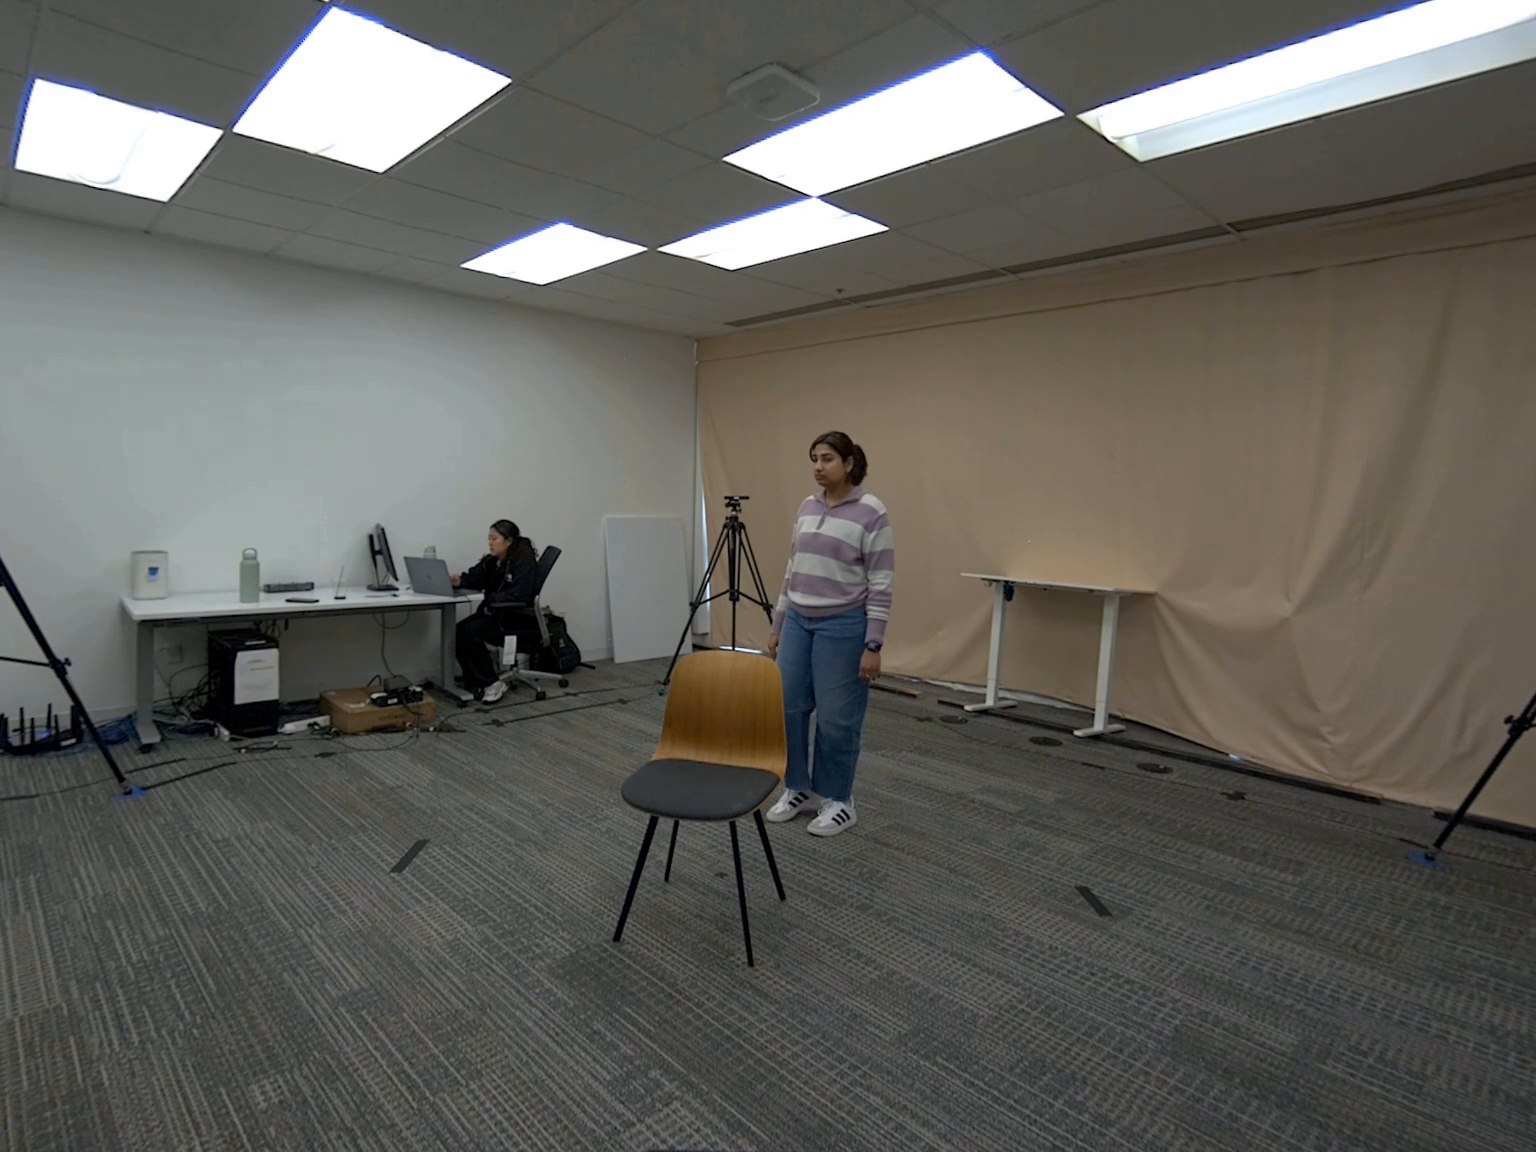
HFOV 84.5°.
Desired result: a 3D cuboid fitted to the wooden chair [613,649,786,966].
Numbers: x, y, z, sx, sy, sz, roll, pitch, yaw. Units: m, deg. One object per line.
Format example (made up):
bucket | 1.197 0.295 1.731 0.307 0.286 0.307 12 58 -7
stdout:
wooden chair | -0.208 0.710 2.732 0.484 0.877 0.516 2 0 16
